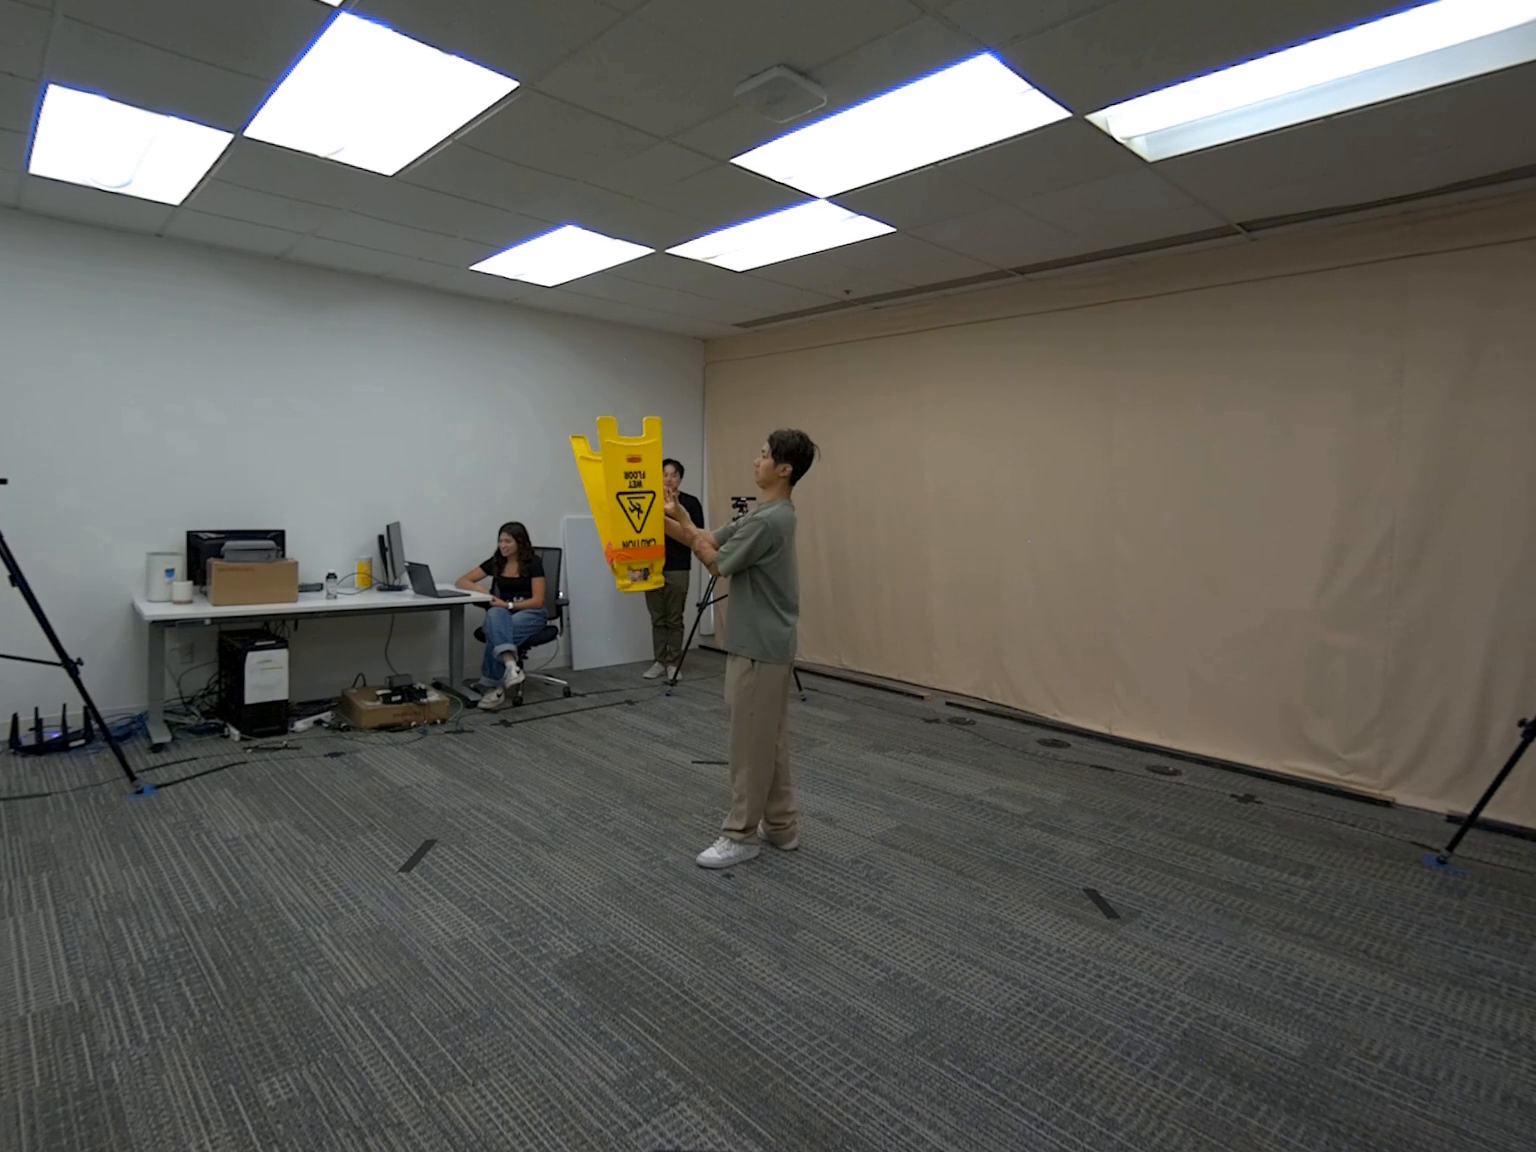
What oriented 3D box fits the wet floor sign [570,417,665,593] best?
[{"bbox_3d":[-0.543,-0.259,3.243,0.276,0.650,0.294,-6,-8,-38],"label":"wet floor sign"}]
